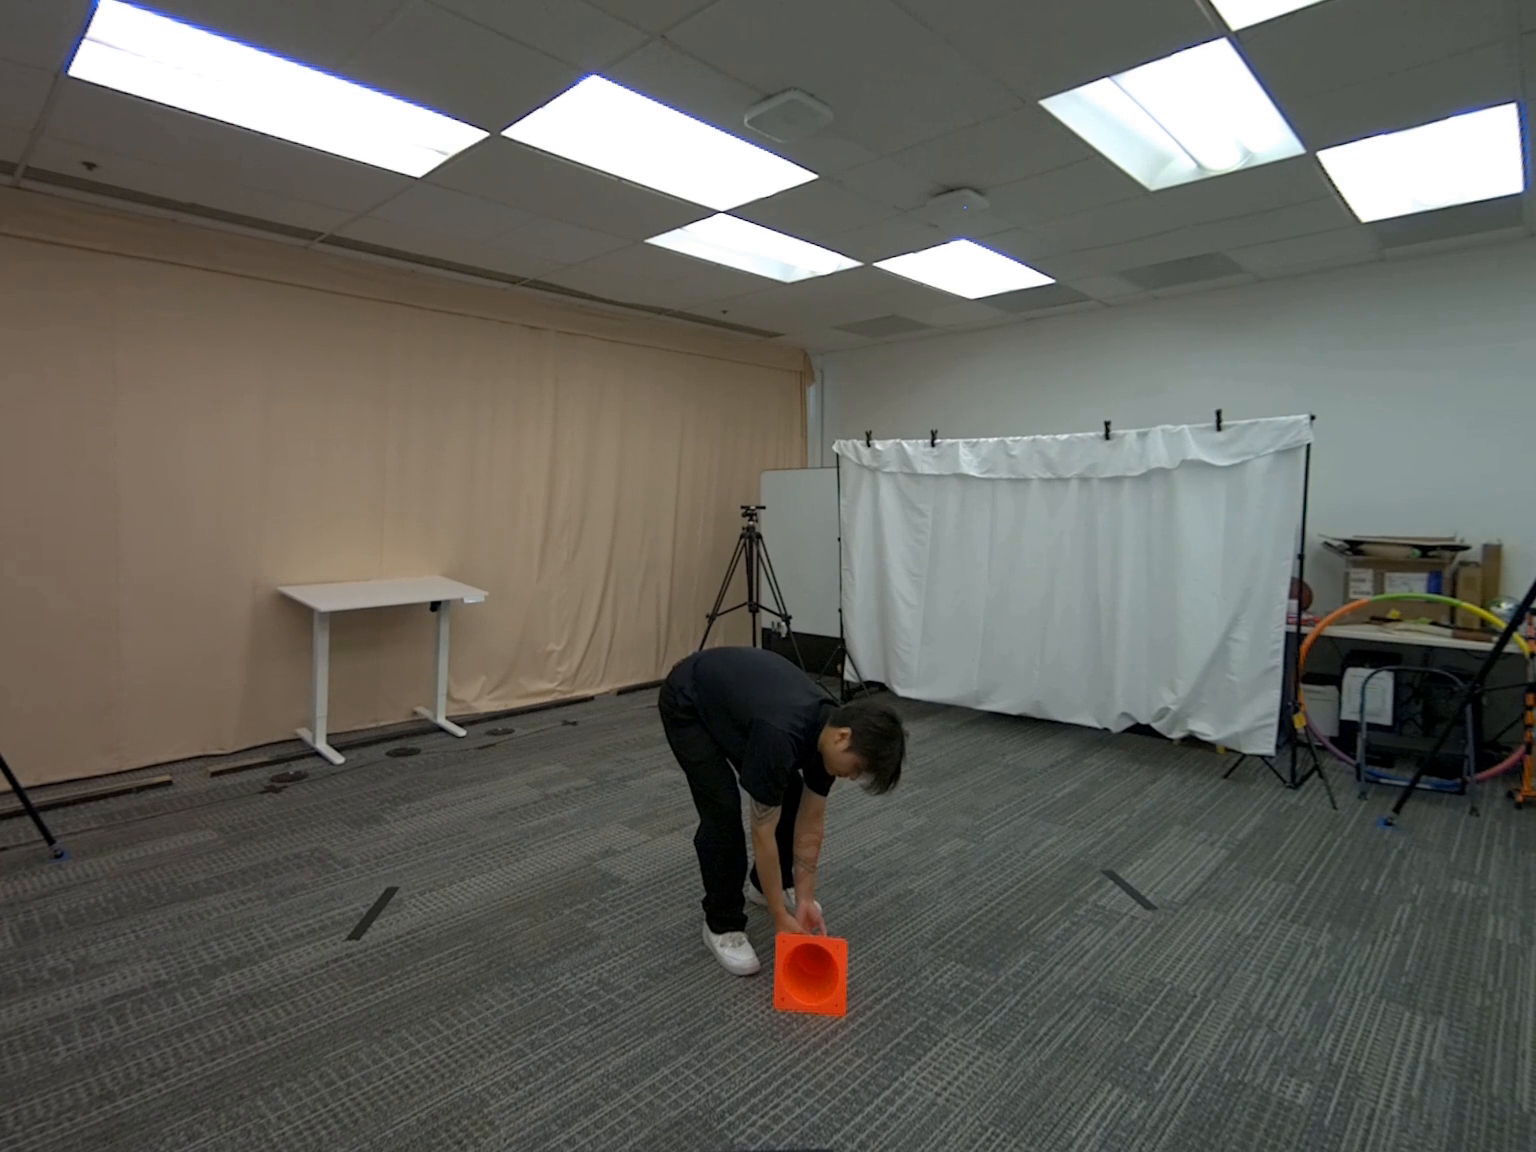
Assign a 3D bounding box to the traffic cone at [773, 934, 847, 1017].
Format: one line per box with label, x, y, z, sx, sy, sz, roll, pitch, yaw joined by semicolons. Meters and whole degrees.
traffic cone;0.150;1.134;2.505;0.206;0.204;0.379;5;-8;5
